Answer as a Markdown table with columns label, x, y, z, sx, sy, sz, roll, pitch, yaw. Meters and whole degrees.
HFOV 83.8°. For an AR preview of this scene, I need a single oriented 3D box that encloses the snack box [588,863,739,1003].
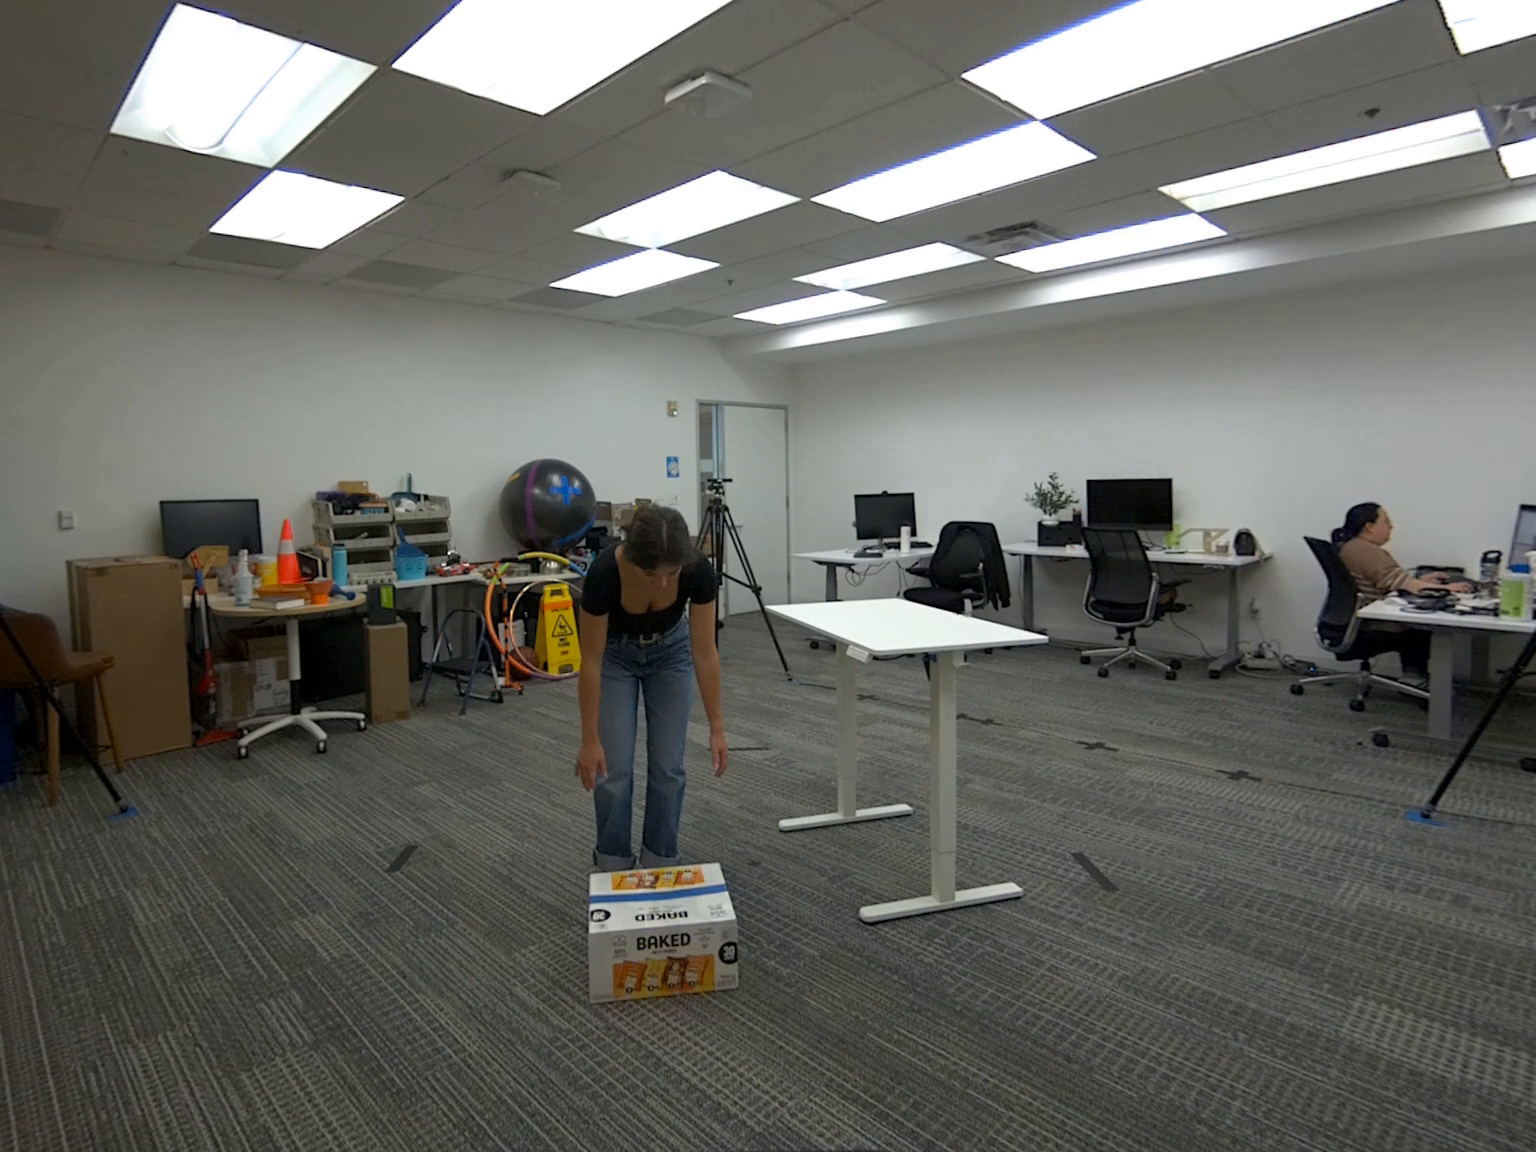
| label | x | y | z | sx | sy | sz | roll | pitch | yaw |
| --- | --- | --- | --- | --- | --- | --- | --- | --- | --- |
| snack box | -0.307 | 1.023 | 2.471 | 0.402 | 0.205 | 0.345 | -2 | 6 | -9 |
